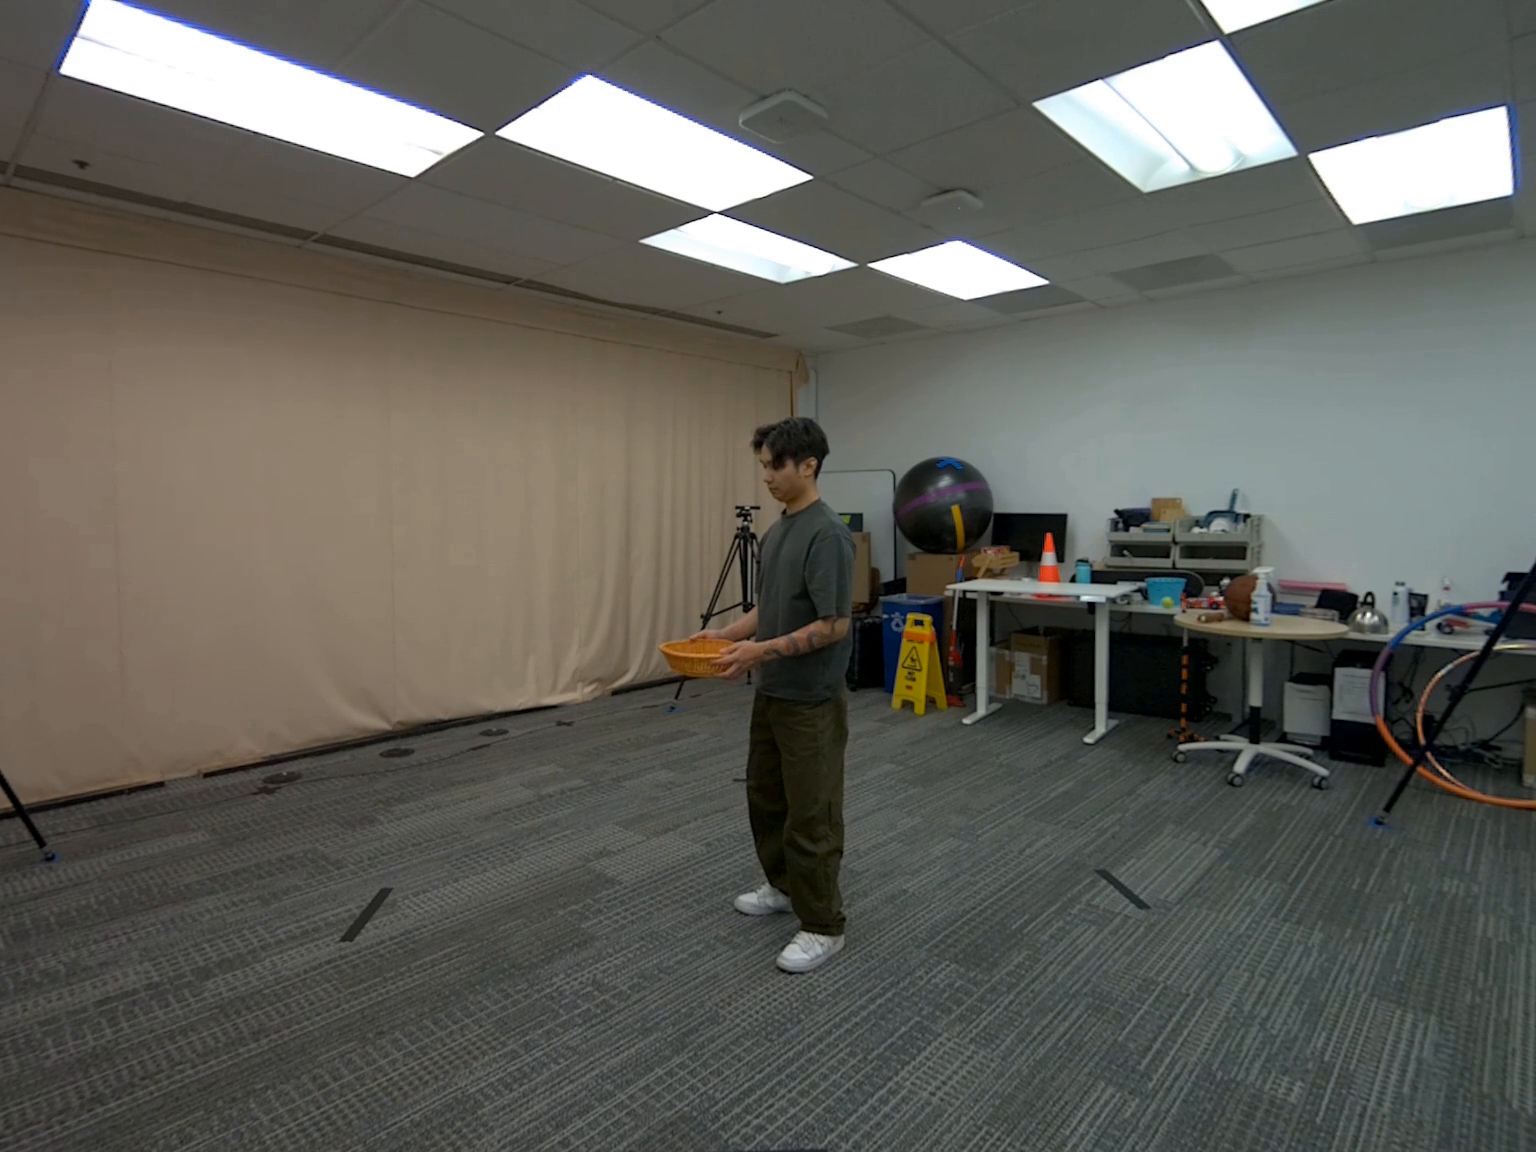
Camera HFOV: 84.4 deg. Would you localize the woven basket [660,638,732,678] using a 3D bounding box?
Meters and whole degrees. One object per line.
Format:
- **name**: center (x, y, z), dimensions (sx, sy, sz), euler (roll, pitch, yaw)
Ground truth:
- **woven basket**: center (-0.189, 0.263, 2.630), dimensions (0.247, 0.073, 0.359), euler (-3, 4, -23)
